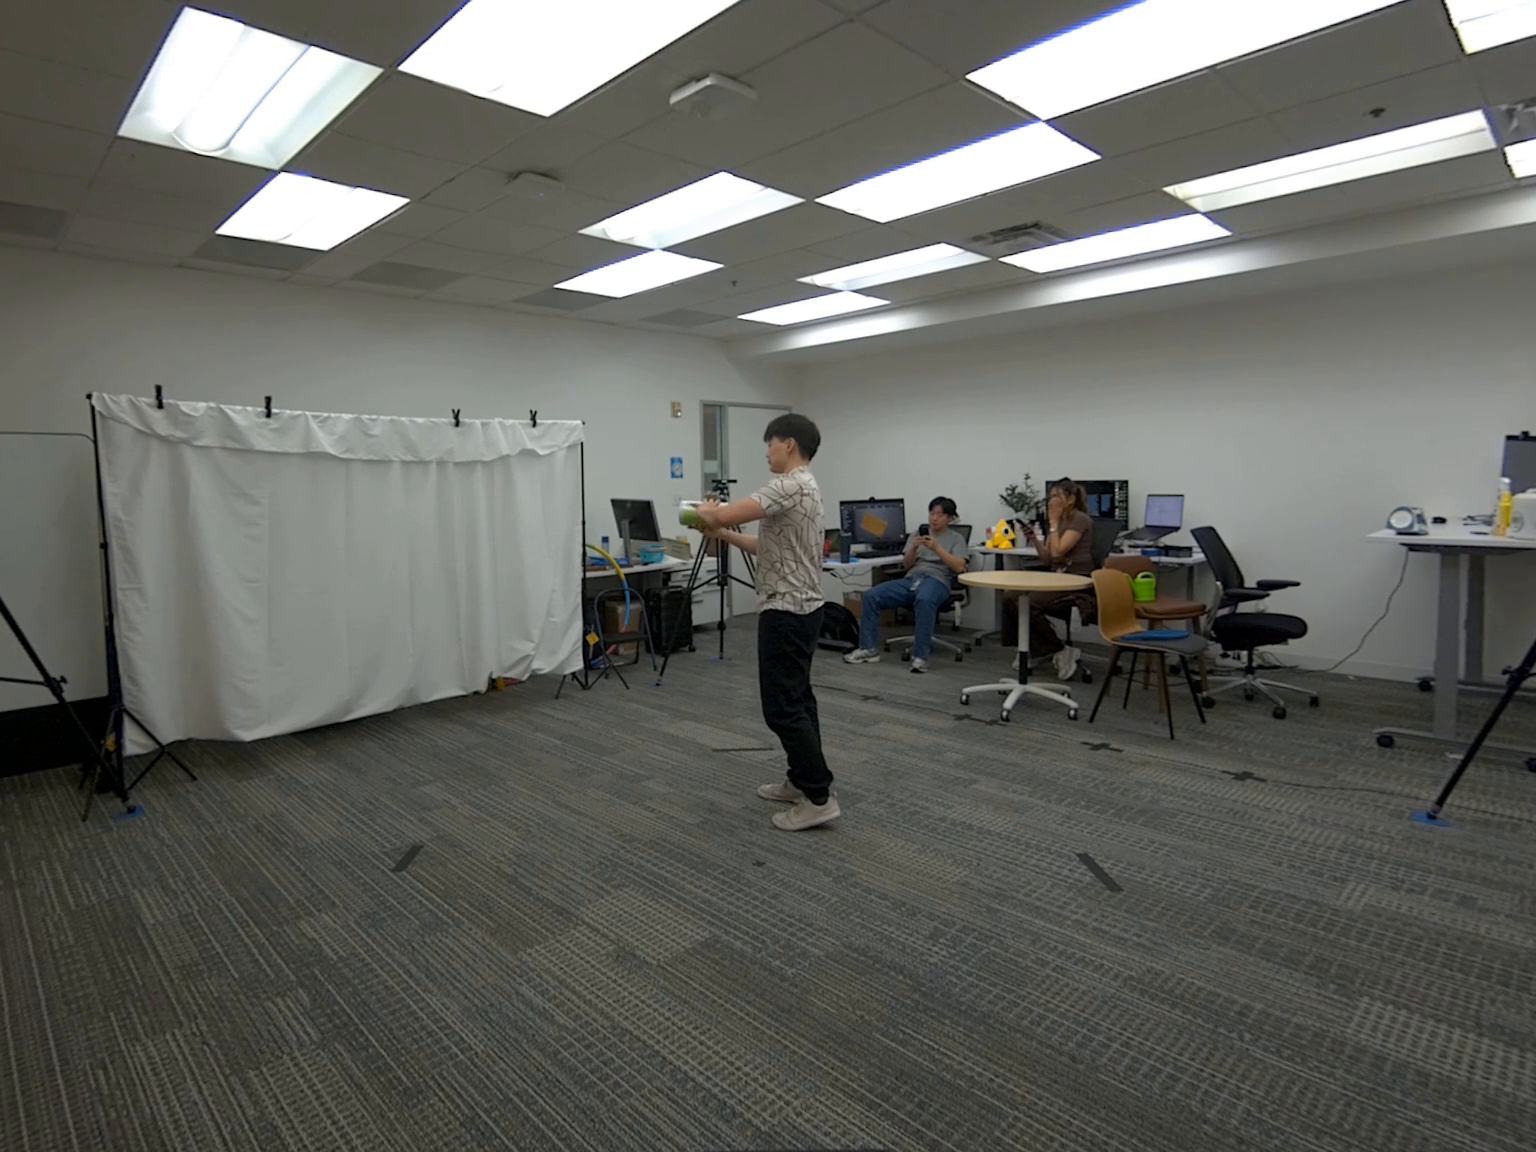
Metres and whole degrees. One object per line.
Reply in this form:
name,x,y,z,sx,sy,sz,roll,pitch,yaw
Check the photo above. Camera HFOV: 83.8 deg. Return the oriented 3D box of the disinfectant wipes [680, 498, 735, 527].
disinfectant wipes,-0.268,-0.279,3.763,0.219,0.117,0.117,3,5,8
